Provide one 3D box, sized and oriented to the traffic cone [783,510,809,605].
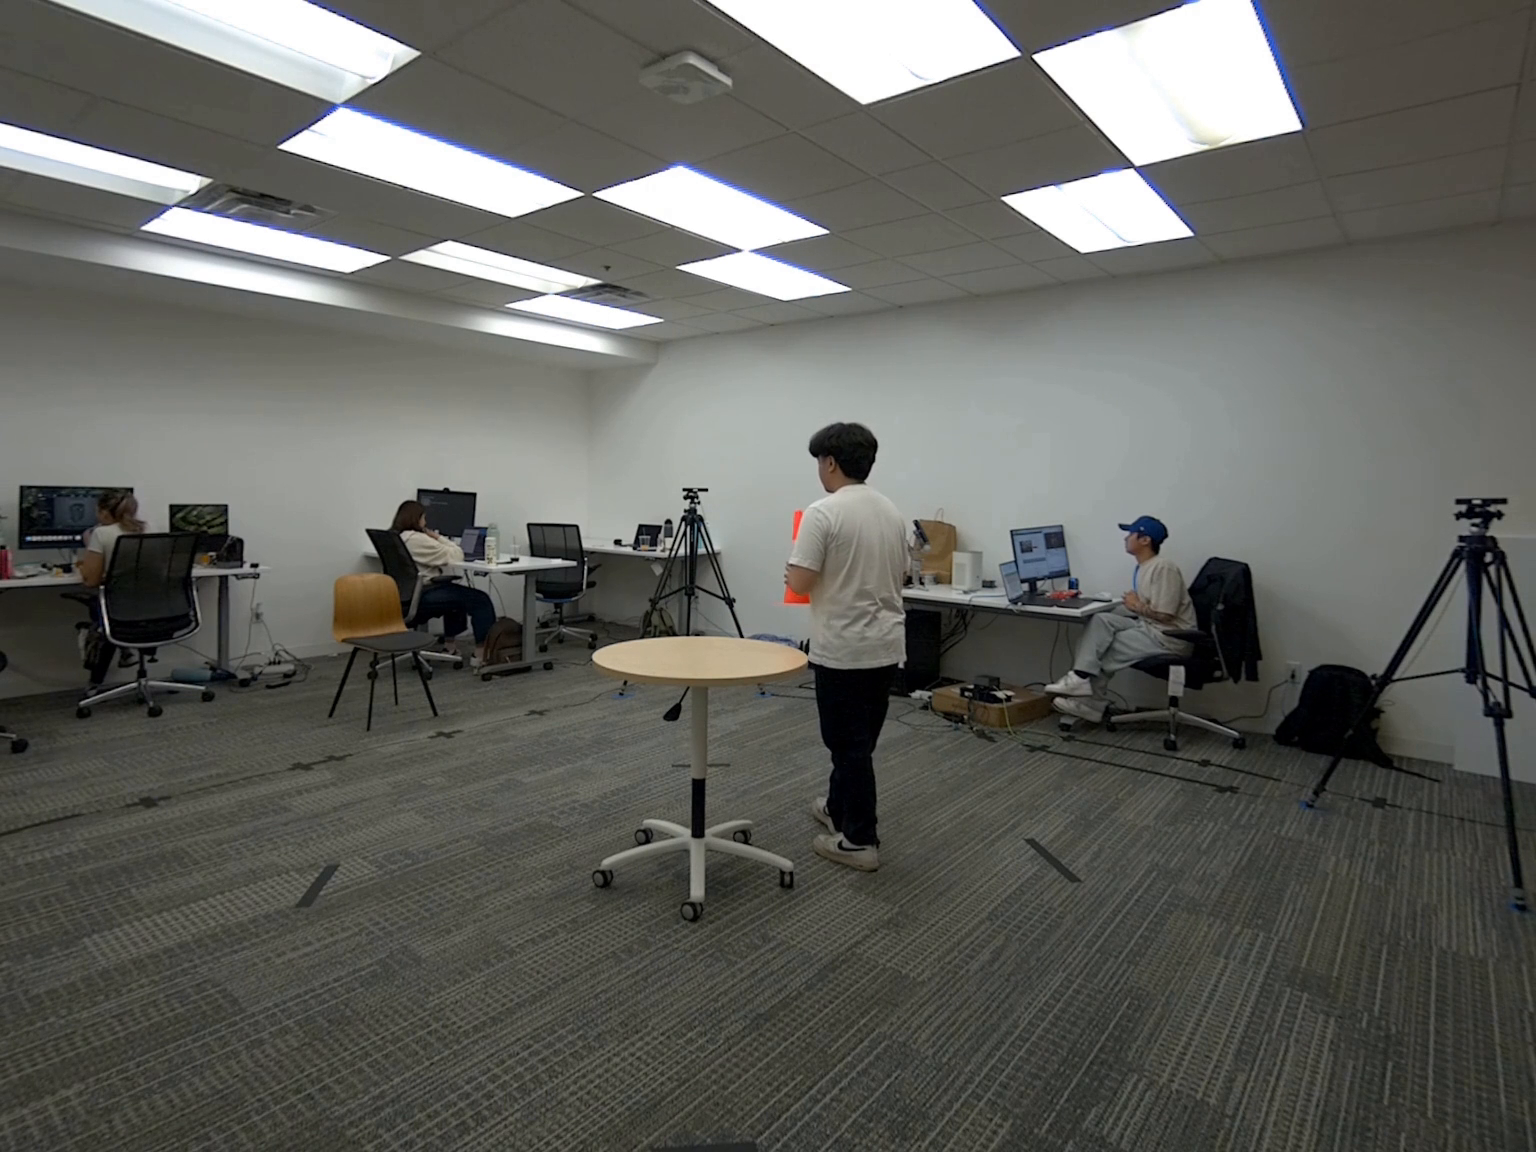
[{"bbox_3d":[0.133,-0.083,3.482,0.209,0.385,0.198,-6,-5,35],"label":"traffic cone"}]
